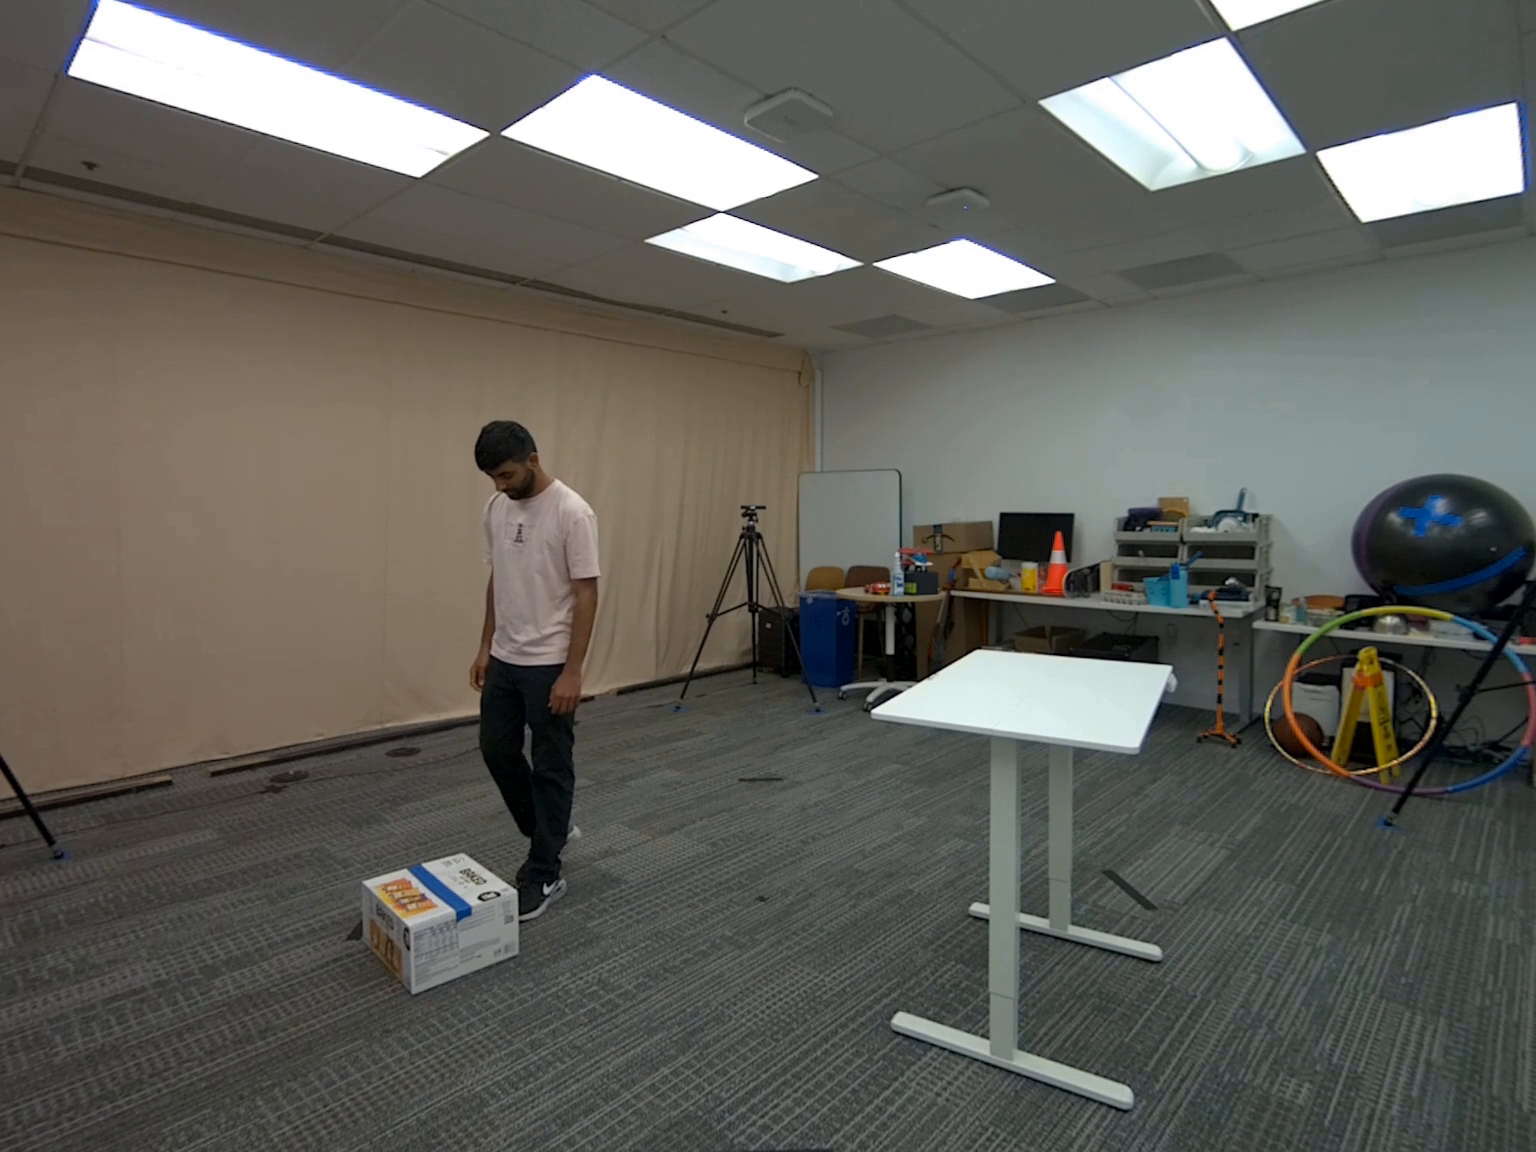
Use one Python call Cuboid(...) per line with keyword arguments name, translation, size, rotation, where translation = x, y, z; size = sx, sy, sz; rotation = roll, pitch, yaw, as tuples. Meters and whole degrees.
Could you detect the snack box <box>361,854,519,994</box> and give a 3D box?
Cuboid(name="snack box", translation=(-1.041, 1.082, 2.648), size=(0.330, 0.205, 0.418), rotation=(-4, 6, -42))
